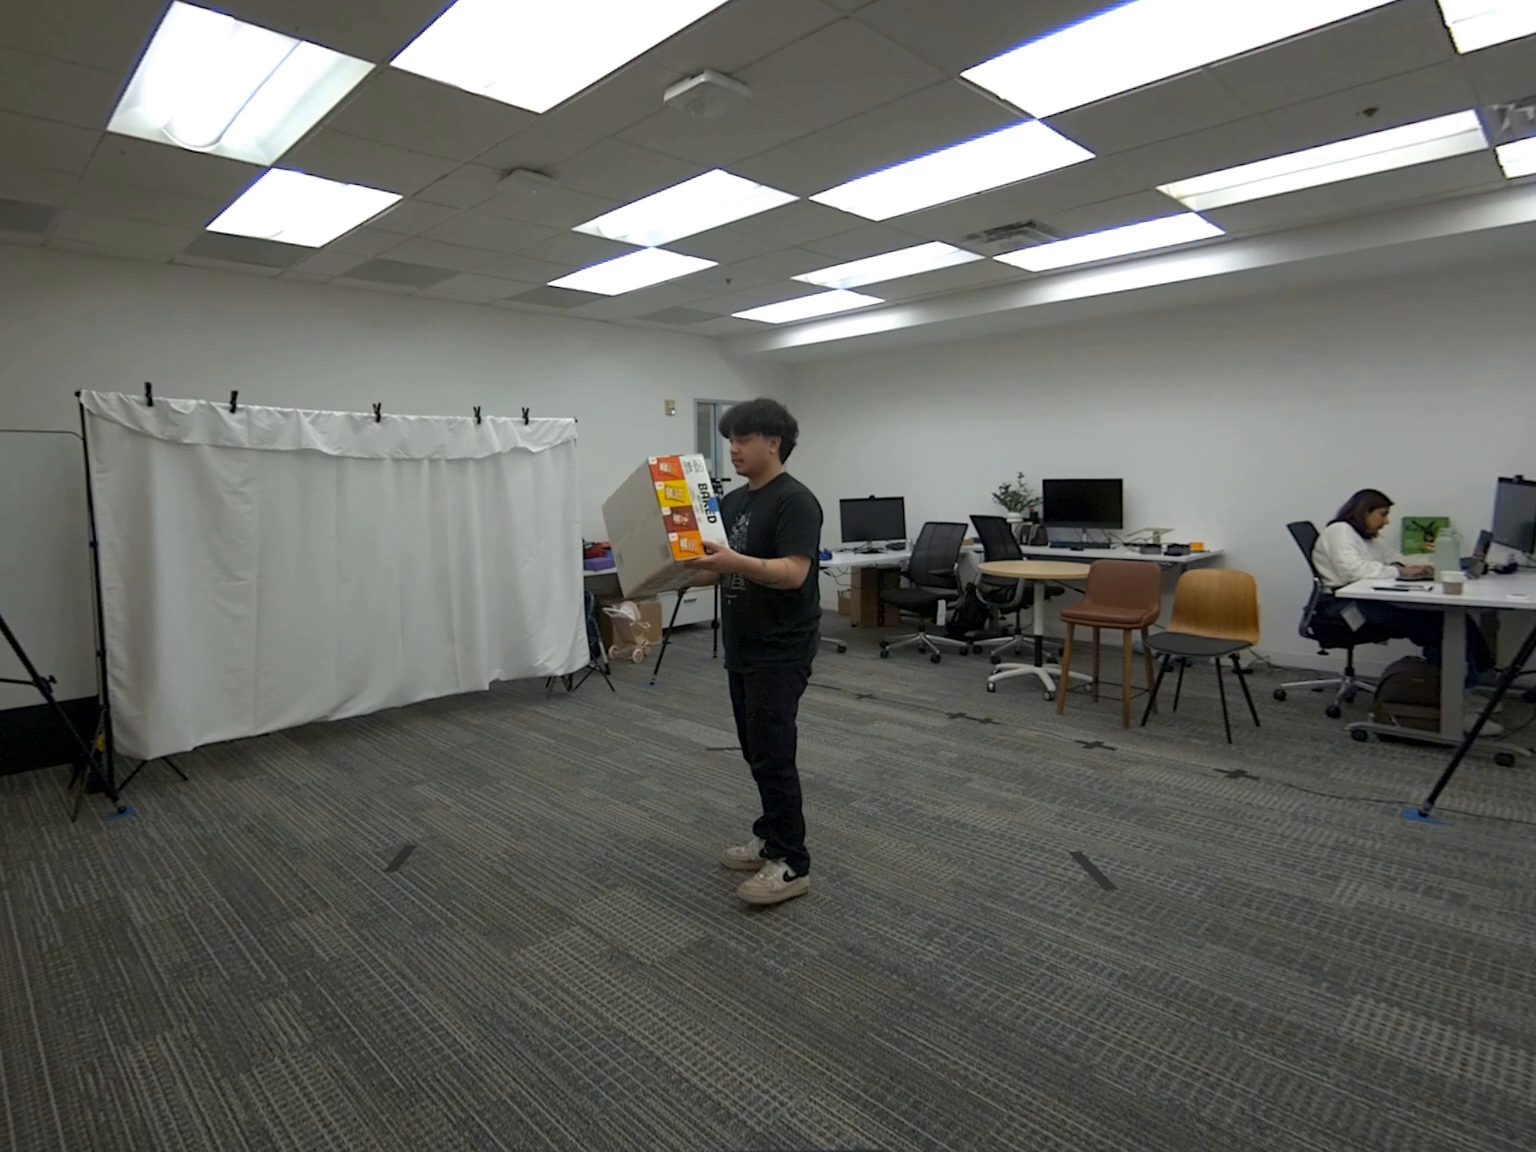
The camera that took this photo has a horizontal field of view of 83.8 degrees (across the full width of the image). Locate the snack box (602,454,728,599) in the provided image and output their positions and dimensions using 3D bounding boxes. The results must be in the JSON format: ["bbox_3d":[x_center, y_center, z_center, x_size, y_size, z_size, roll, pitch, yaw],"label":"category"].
[{"bbox_3d":[-0.352,-0.150,2.787,0.201,0.346,0.408,-7,-16,-34],"label":"snack box"}]
